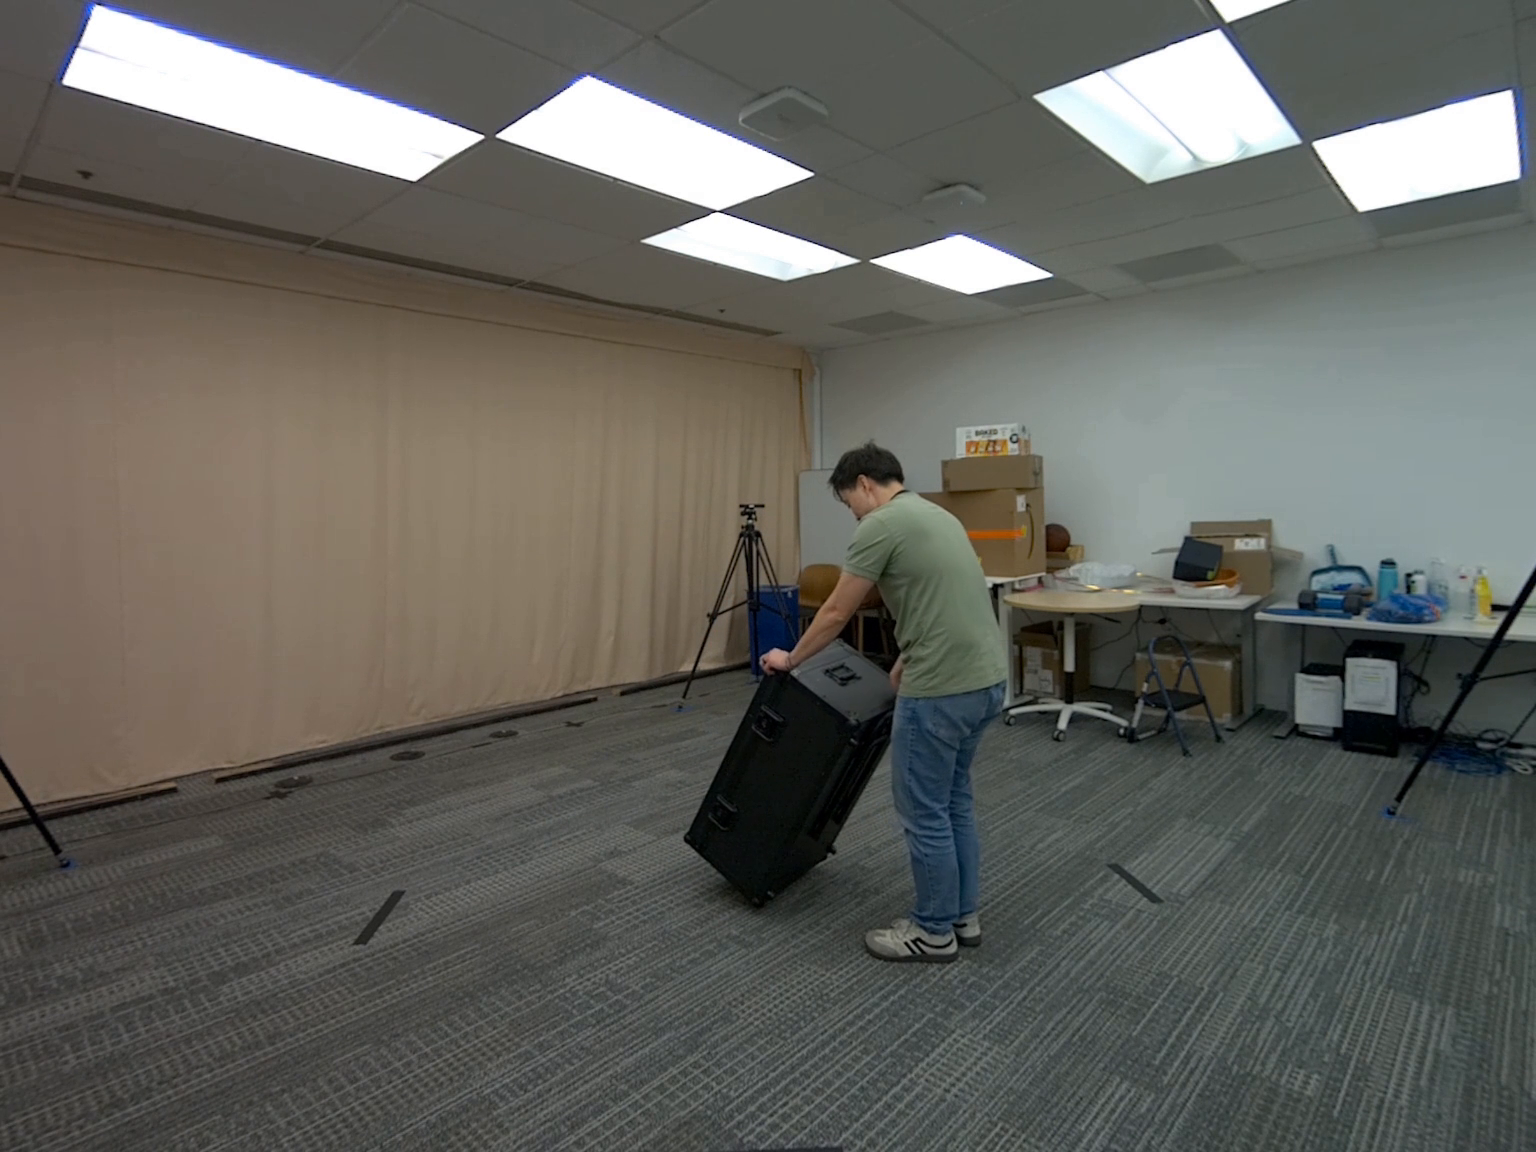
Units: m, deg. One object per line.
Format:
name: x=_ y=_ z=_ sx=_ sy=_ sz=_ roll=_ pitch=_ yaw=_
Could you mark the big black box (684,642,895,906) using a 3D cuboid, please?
big black box: x=0.115 y=0.713 z=2.988 sx=0.408 sy=0.859 sz=0.506 roll=36 pitch=22 yaw=27
